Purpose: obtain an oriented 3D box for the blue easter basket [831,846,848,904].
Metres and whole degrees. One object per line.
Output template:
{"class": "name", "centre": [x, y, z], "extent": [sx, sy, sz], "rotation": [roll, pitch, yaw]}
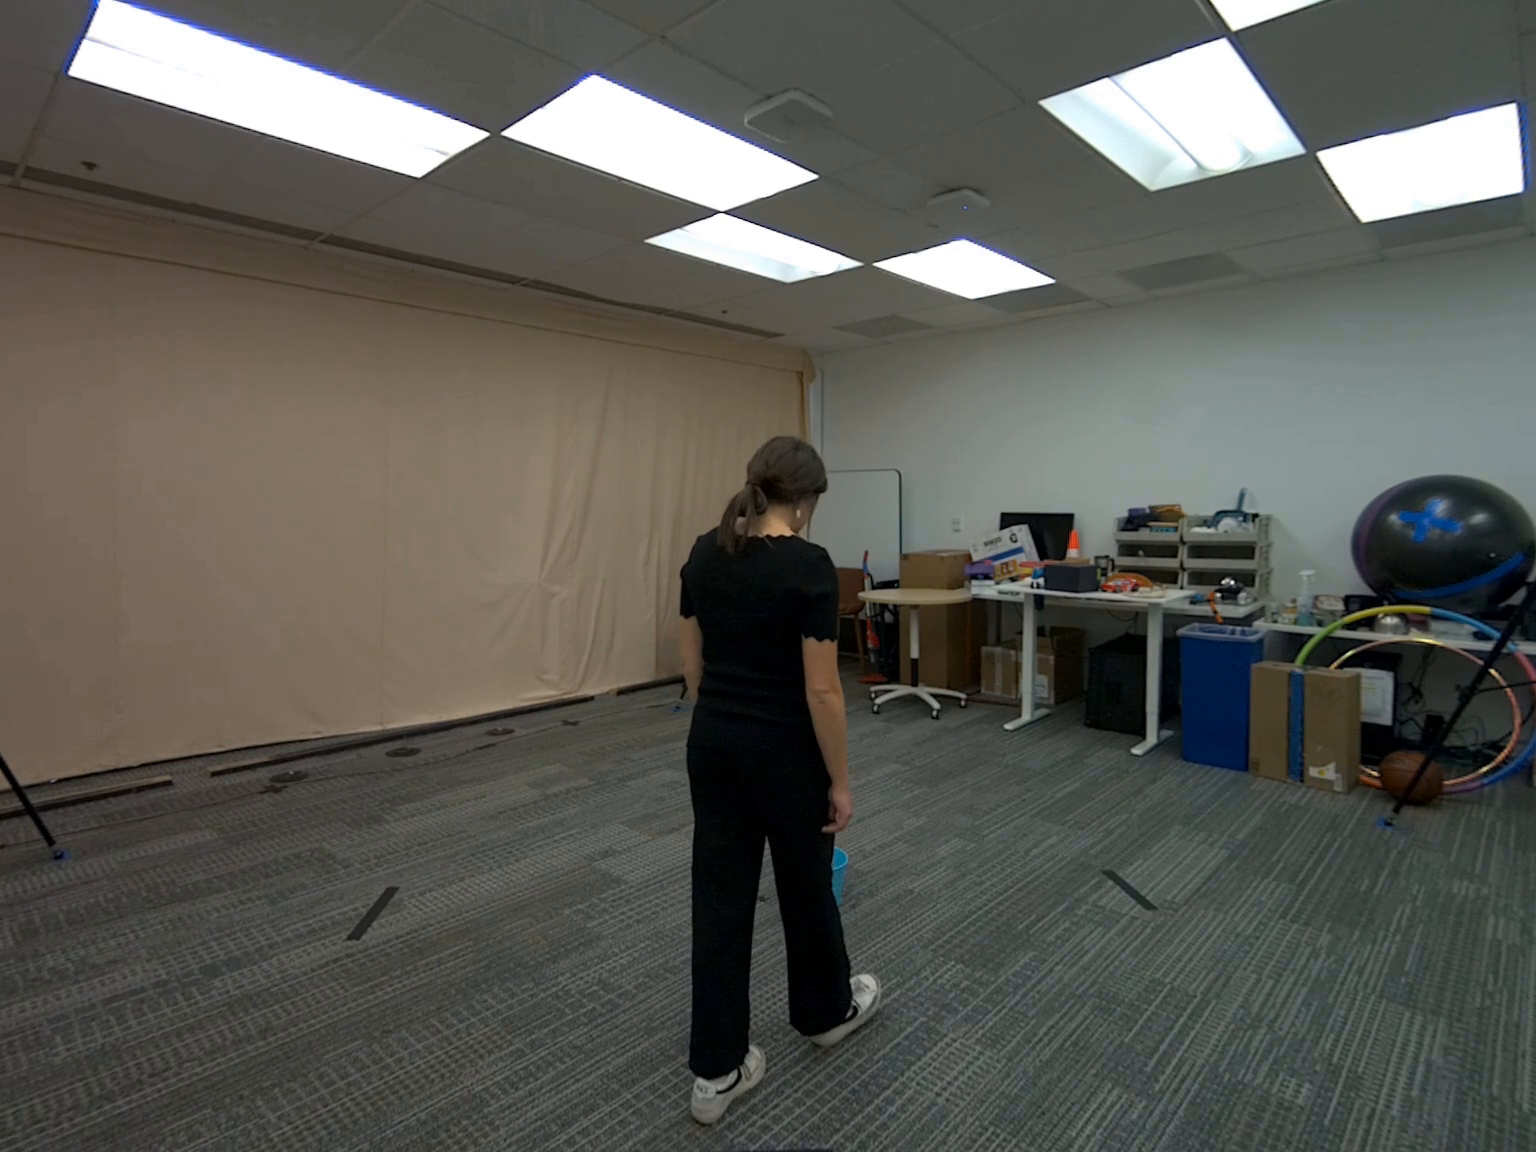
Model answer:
{"class": "blue easter basket", "centre": [0.175, 1.064, 2.985], "extent": [0.243, 0.155, 0.244], "rotation": [0, 4, -2]}
